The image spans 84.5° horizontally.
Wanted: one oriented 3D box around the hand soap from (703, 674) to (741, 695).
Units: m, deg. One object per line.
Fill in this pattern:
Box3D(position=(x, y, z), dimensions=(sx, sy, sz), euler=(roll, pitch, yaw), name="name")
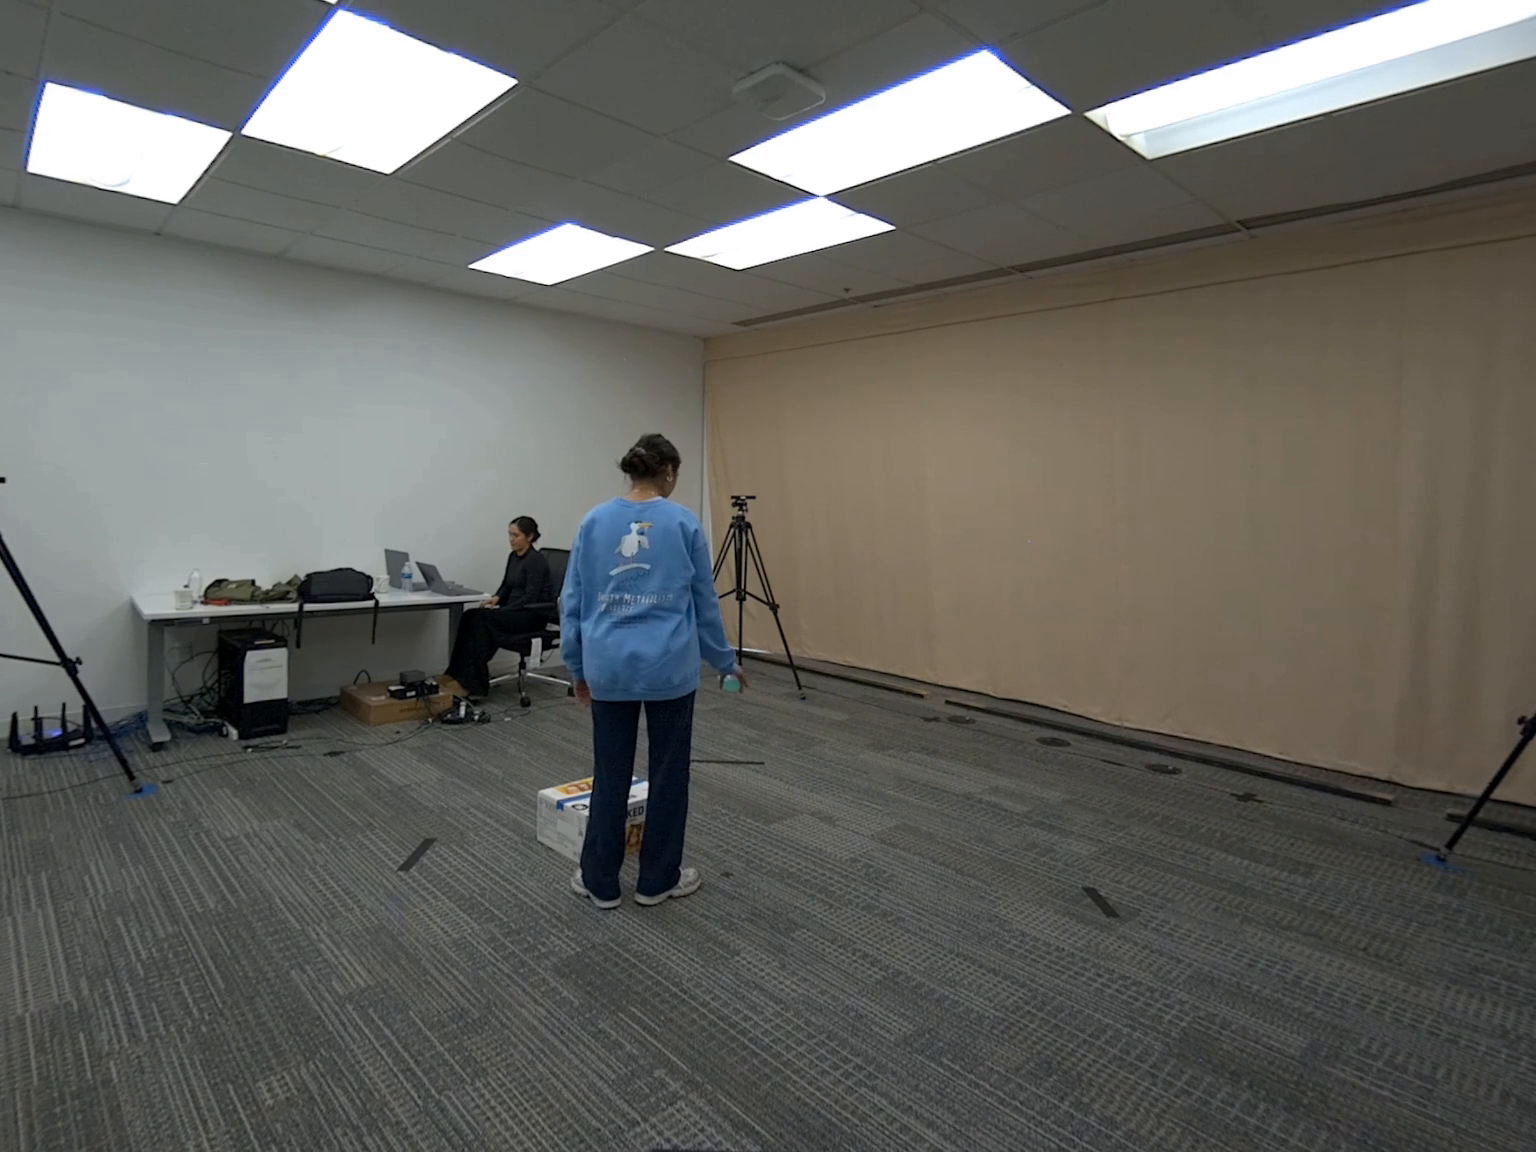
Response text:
Box3D(position=(-0.177, 0.403, 3.173), dimensions=(0.083, 0.043, 0.171), euler=(8, -2, -20), name="hand soap")
